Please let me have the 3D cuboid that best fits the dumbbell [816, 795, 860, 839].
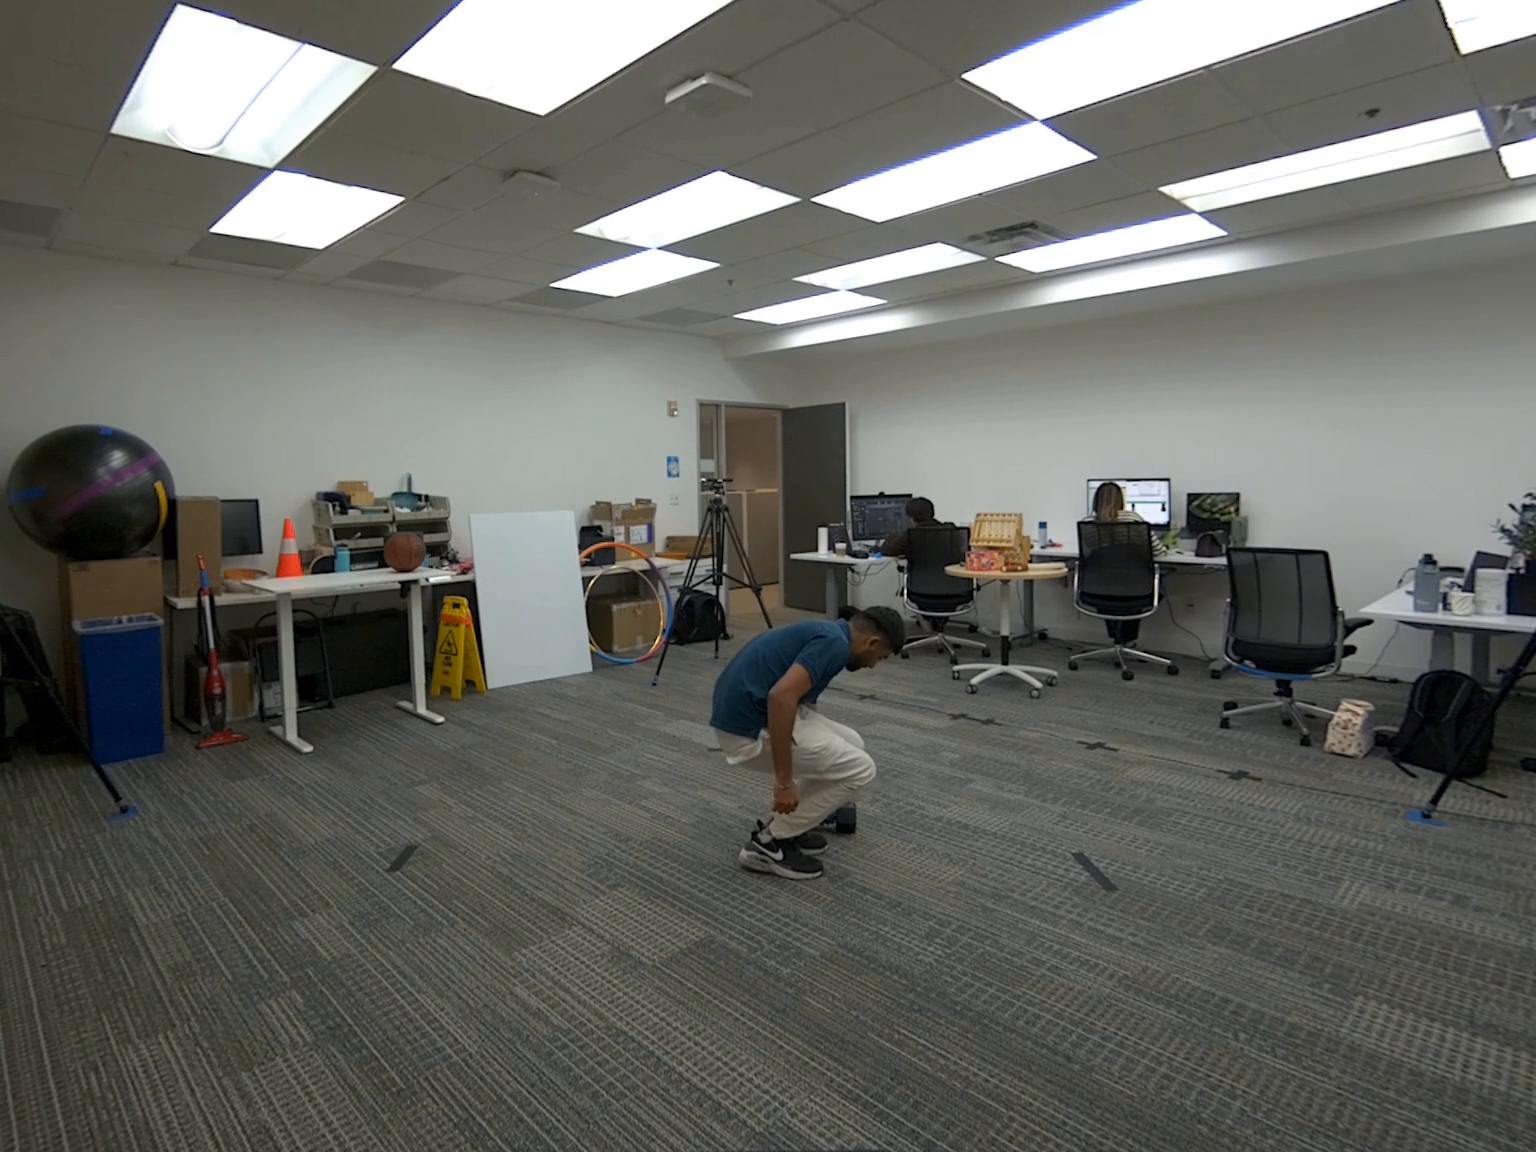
[{"bbox_3d":[0.212,0.942,3.397,0.296,0.119,0.111,2,36,9],"label":"dumbbell"}]
